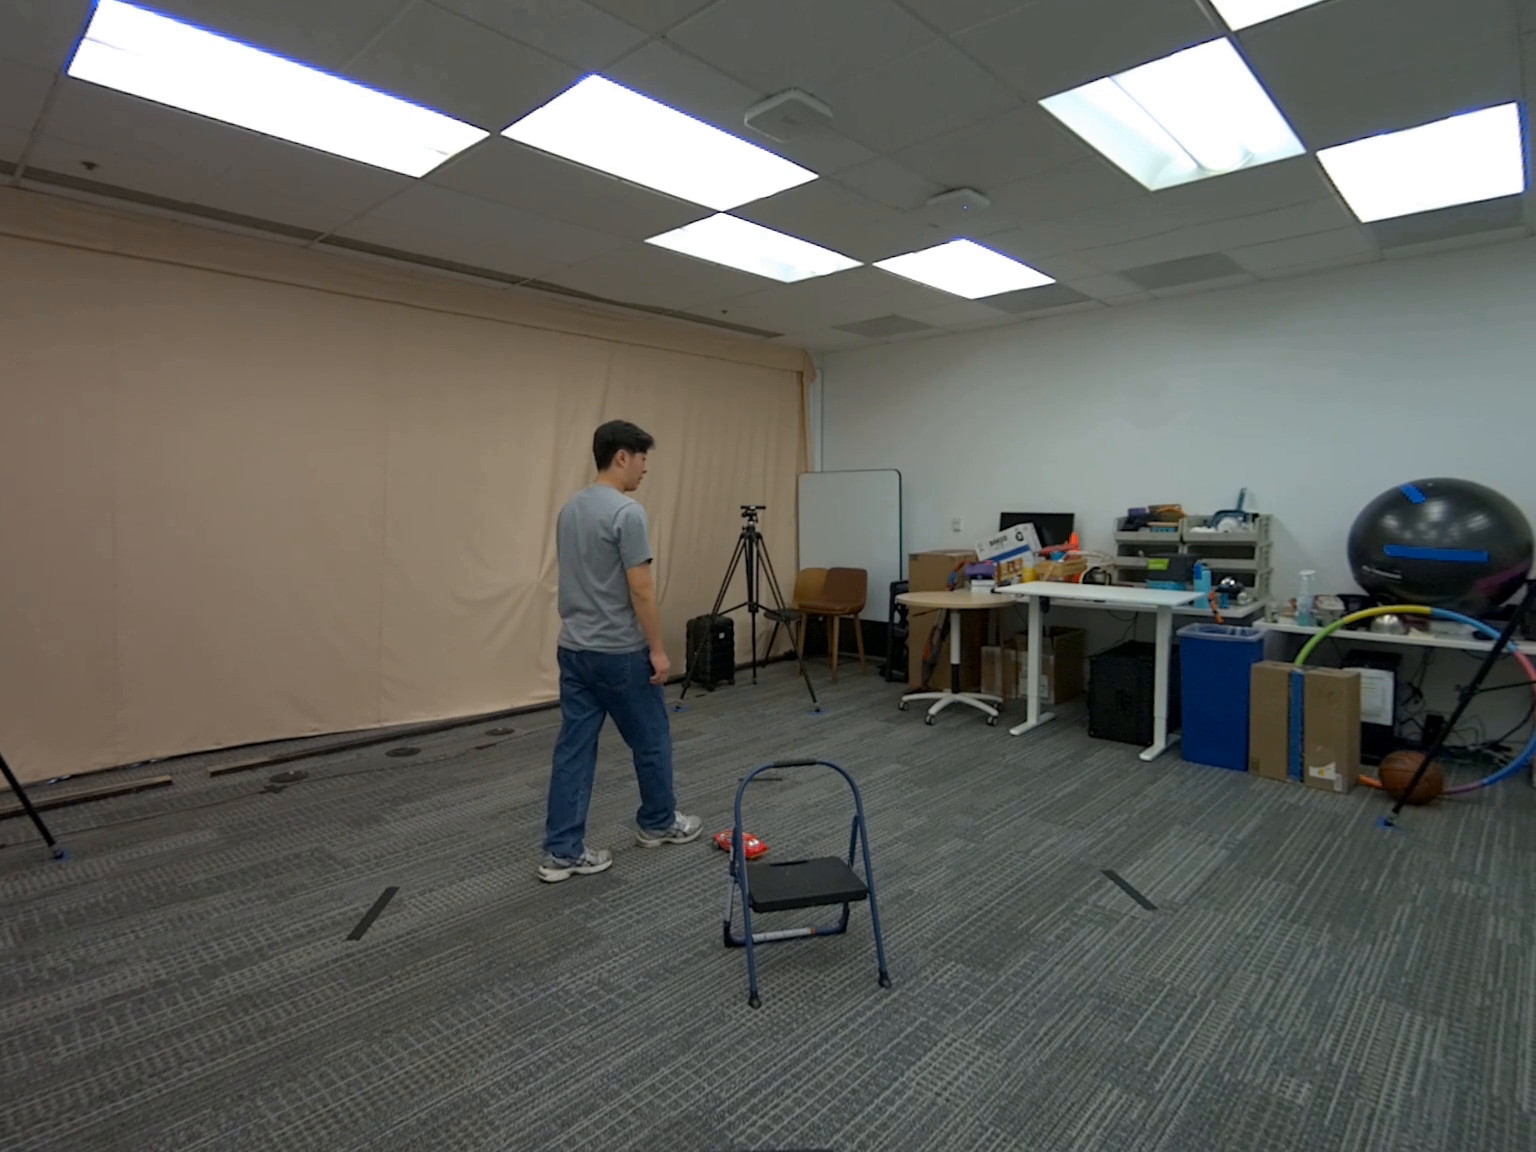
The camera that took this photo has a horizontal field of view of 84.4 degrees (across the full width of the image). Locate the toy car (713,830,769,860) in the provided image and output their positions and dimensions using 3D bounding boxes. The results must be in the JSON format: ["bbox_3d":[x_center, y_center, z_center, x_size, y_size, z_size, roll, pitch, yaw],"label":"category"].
[{"bbox_3d":[-0.106,1.080,3.375,0.126,0.083,0.261,-3,-5,-42],"label":"toy car"}]
